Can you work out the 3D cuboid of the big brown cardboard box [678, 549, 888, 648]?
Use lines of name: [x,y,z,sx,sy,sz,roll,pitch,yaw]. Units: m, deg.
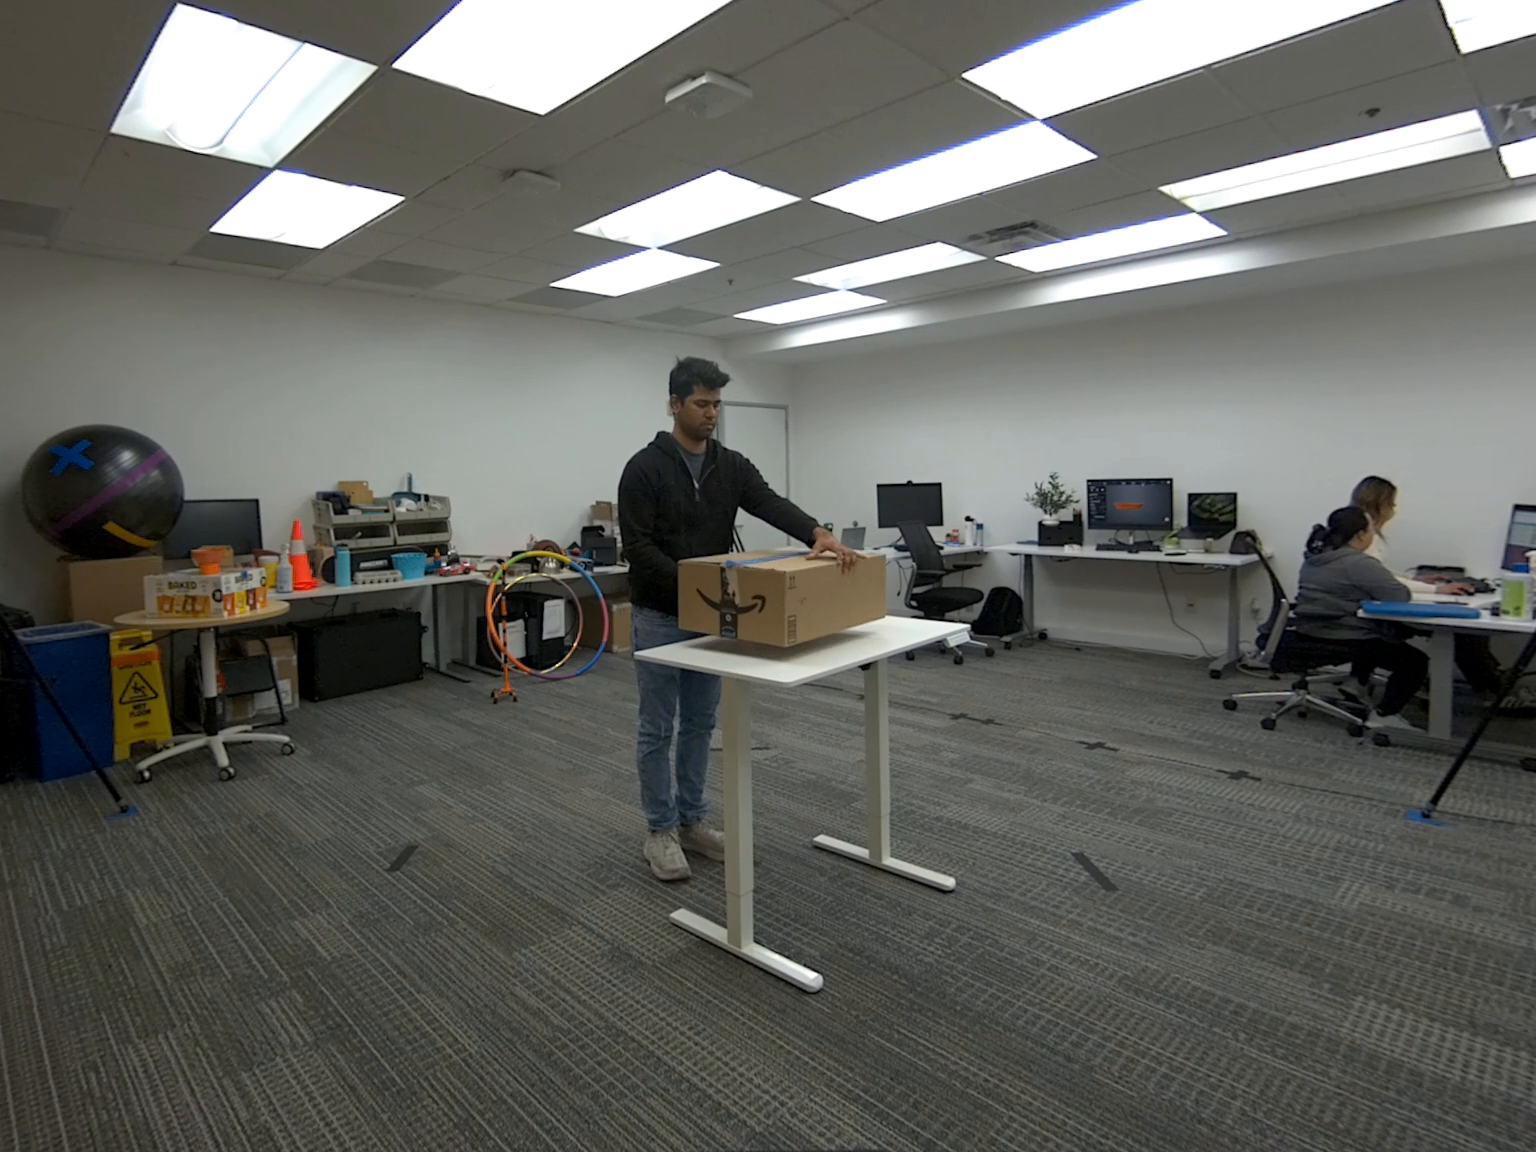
big brown cardboard box: [0.055,0.041,2.719,0.430,0.232,0.575,5,9,38]
